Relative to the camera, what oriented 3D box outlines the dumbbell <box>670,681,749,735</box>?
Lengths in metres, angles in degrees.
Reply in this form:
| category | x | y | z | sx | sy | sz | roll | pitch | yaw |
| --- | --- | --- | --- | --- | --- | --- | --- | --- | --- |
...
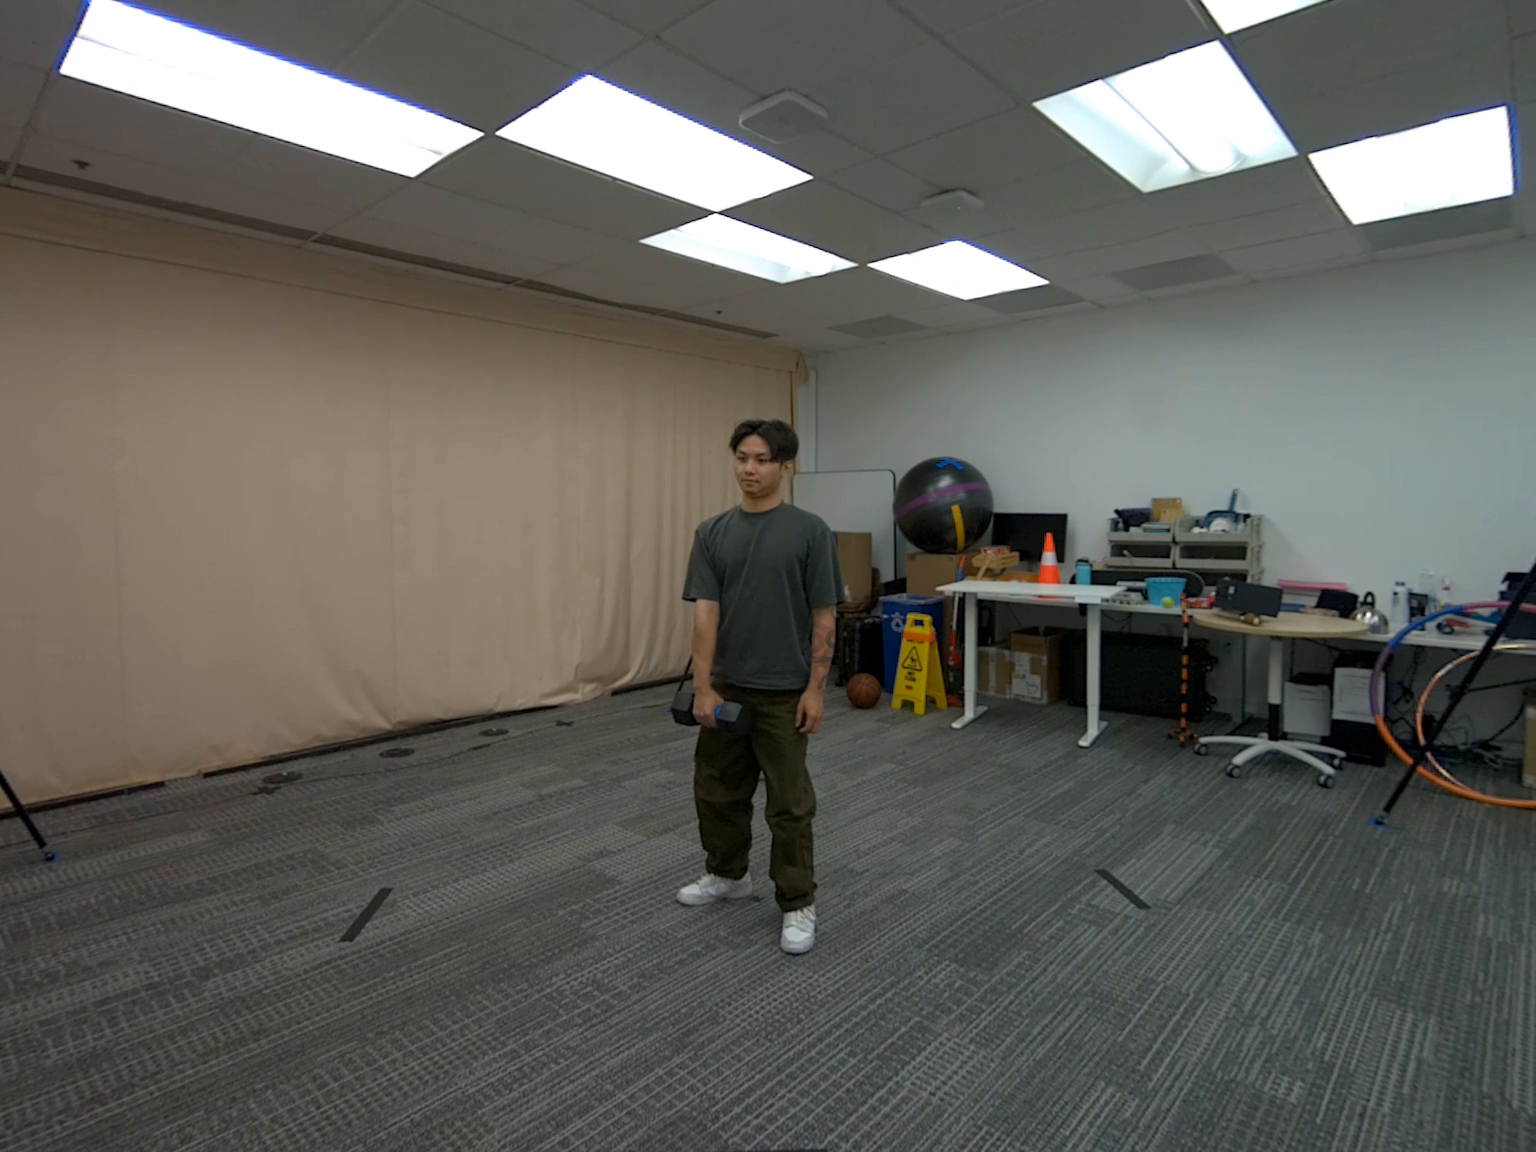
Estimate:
| category | x | y | z | sx | sy | sz | roll | pitch | yaw |
| --- | --- | --- | --- | --- | --- | --- | --- | --- | --- |
| dumbbell | -0.174 | 0.450 | 2.744 | 0.303 | 0.121 | 0.107 | 4 | 30 | 41 |
